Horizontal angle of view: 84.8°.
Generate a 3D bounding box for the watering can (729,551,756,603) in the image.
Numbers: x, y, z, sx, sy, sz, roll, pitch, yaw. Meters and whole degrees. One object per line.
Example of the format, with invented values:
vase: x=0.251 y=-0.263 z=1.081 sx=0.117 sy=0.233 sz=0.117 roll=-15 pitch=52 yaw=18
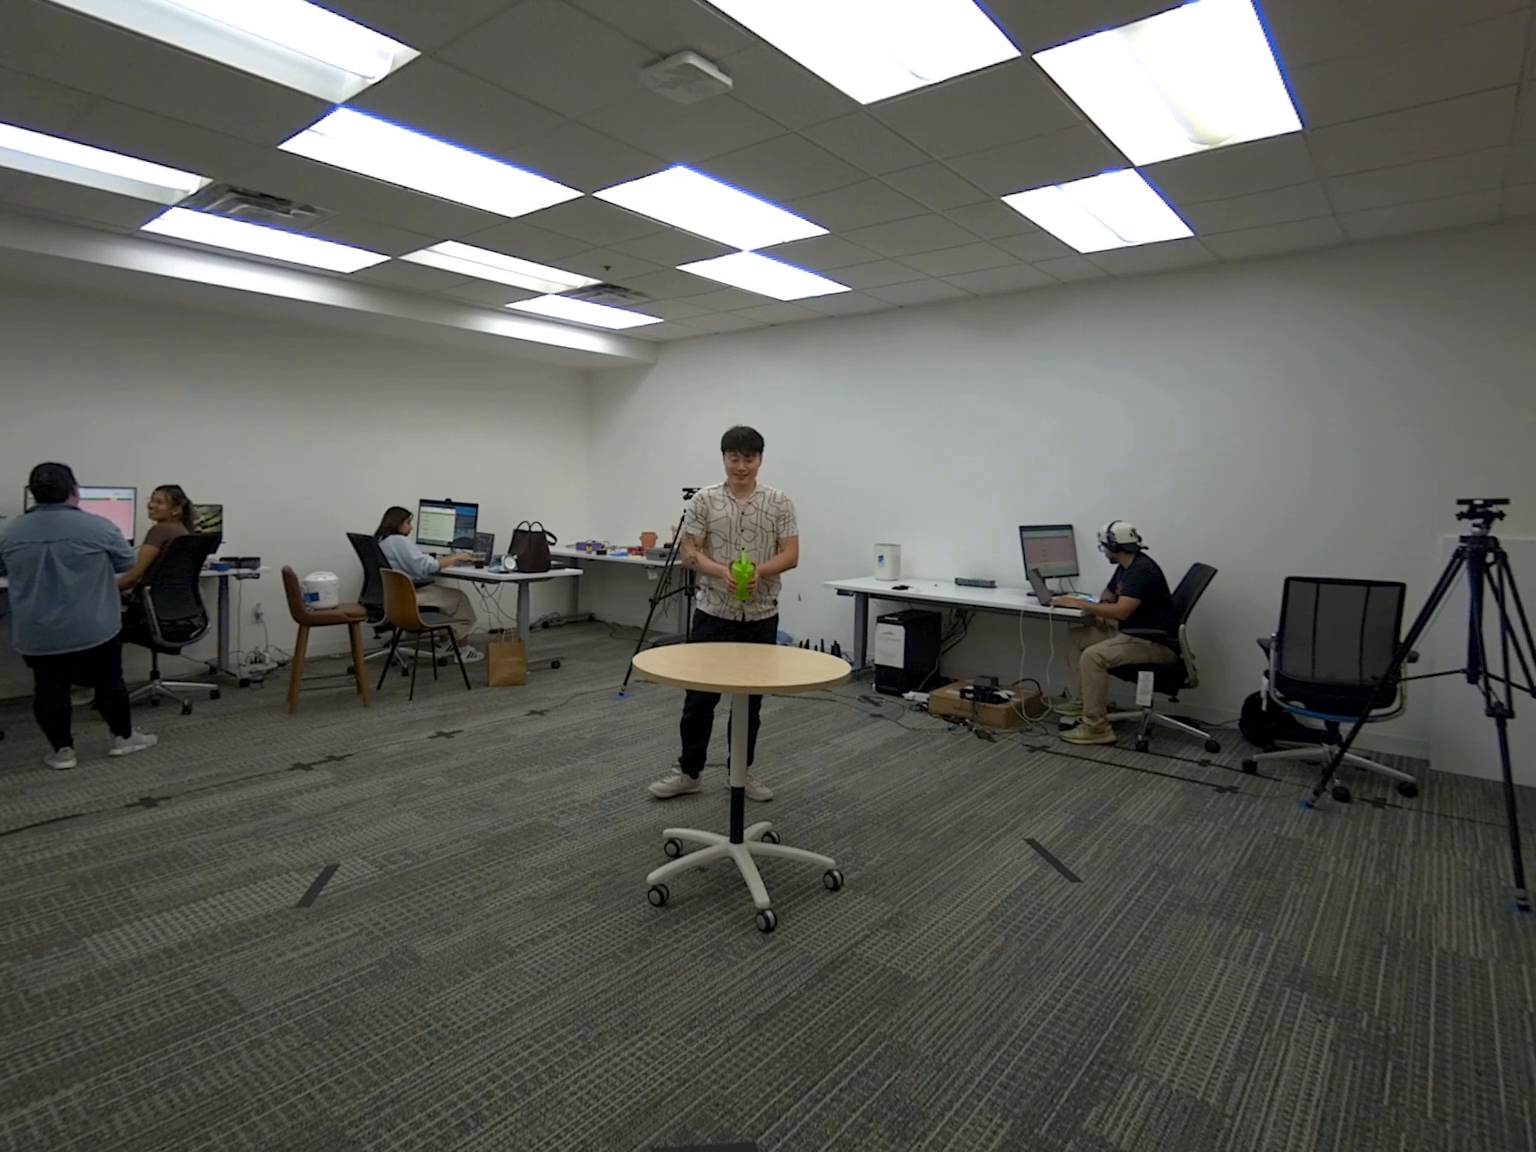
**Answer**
watering can: x=-0.136 y=0.010 z=3.569 sx=0.099 sy=0.173 sz=0.279 roll=8 pitch=24 yaw=11
